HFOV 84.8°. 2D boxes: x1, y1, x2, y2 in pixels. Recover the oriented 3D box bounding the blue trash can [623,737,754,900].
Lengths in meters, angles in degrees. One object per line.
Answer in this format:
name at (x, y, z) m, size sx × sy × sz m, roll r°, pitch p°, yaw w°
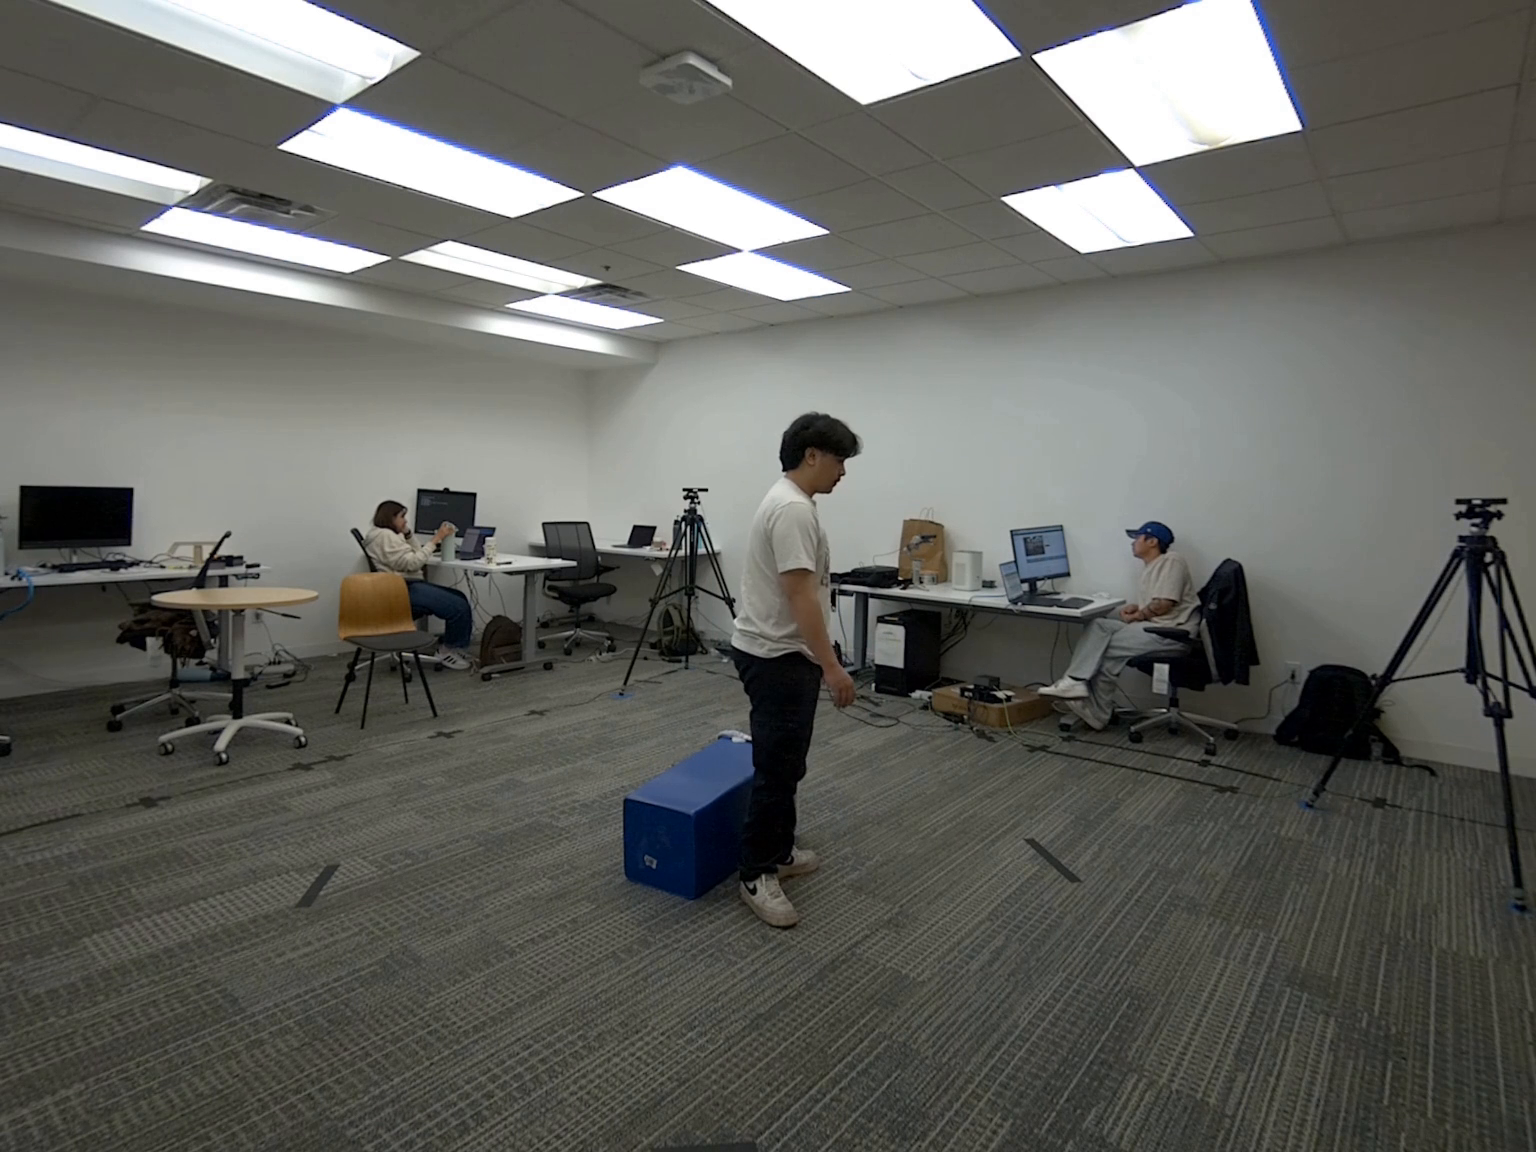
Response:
blue trash can at (-0.226, 0.894, 3.233) m, size 0.389 × 0.371 × 0.698 m, roll 5°, pitch 9°, yaw 29°
